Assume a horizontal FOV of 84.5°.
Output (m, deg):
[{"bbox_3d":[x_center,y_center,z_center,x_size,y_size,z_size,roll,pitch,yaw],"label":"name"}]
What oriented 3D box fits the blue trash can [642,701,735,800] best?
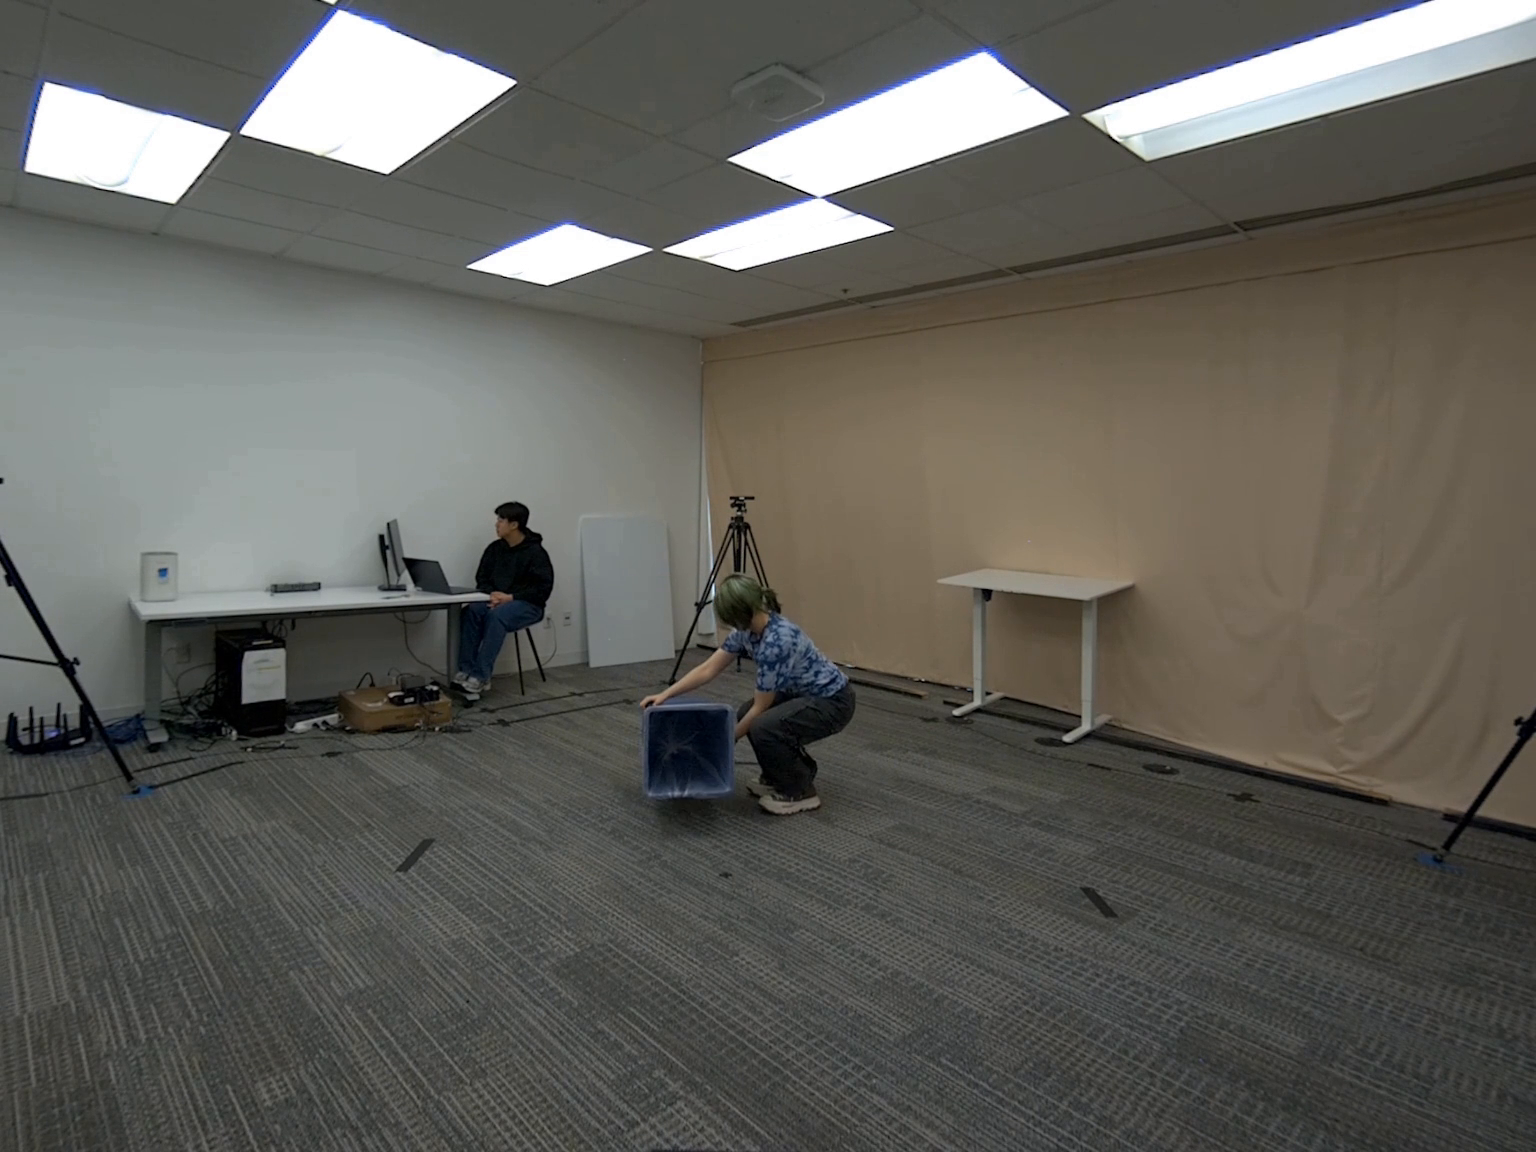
[{"bbox_3d":[-0.399,0.728,3.772,0.375,0.375,0.716,1,-4,-11],"label":"blue trash can"}]
